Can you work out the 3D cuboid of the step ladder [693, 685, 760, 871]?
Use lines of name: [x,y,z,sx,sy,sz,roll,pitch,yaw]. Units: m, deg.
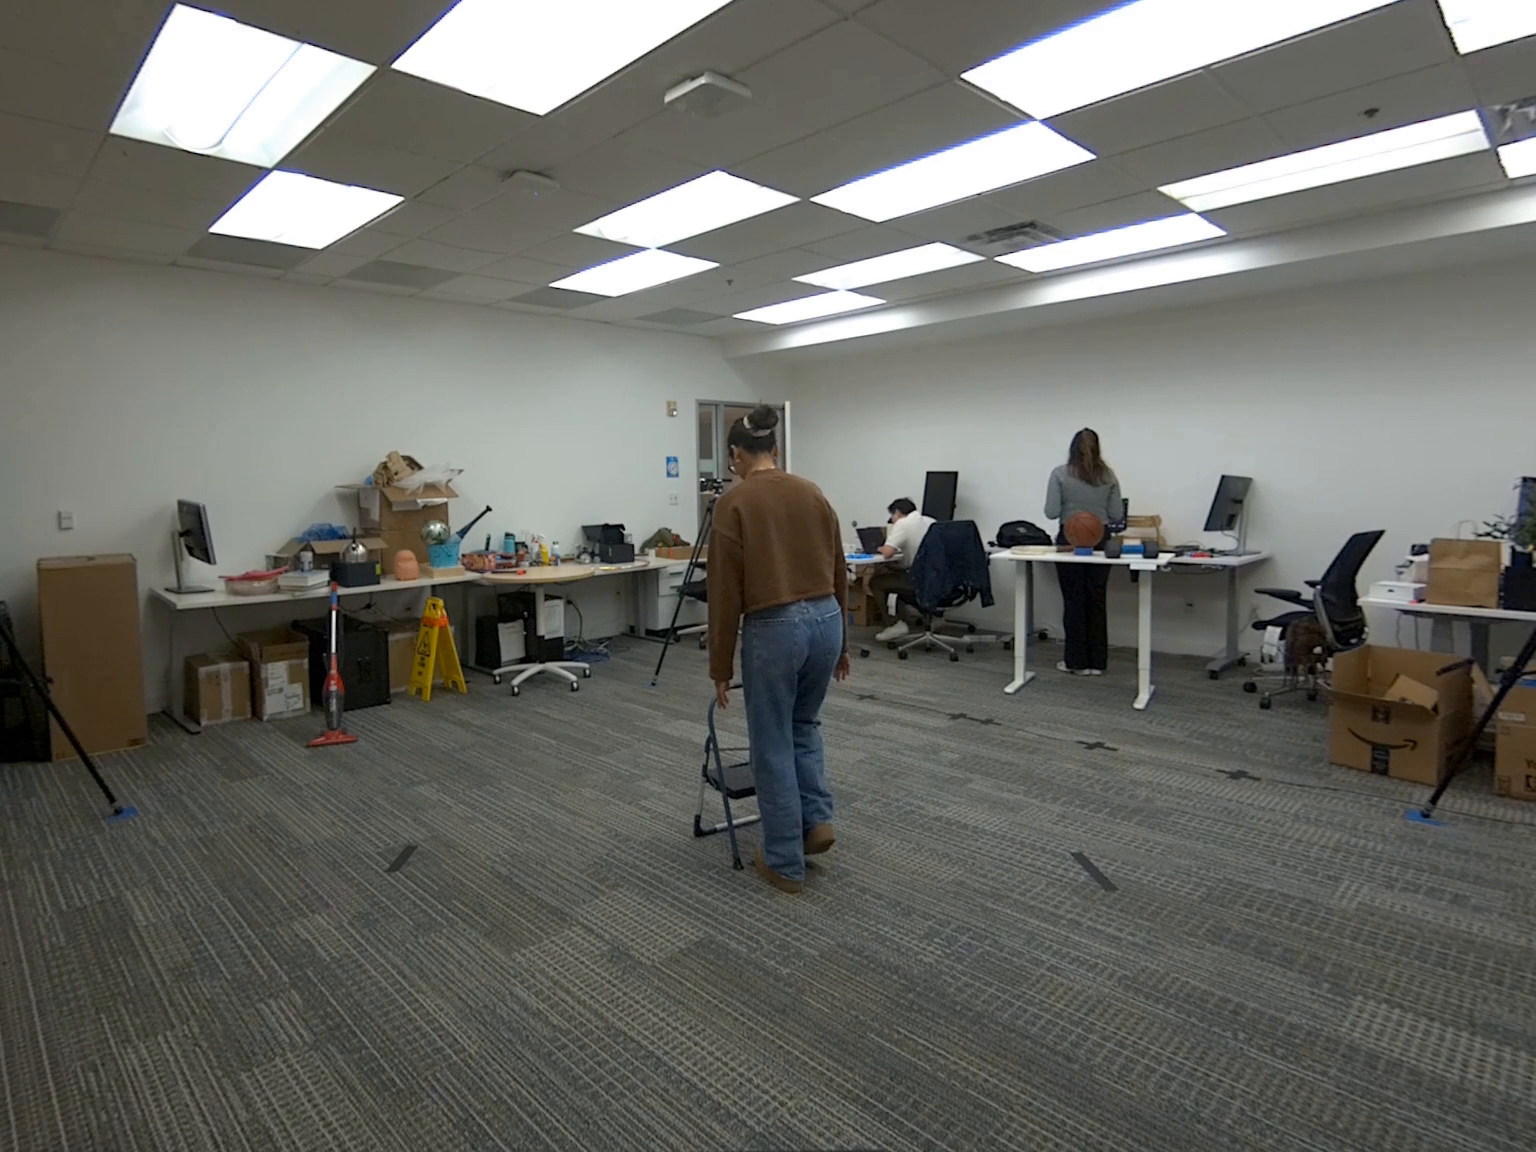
step ladder: [-0.030,0.718,3.289,0.420,0.604,0.359,-4,5,-33]
